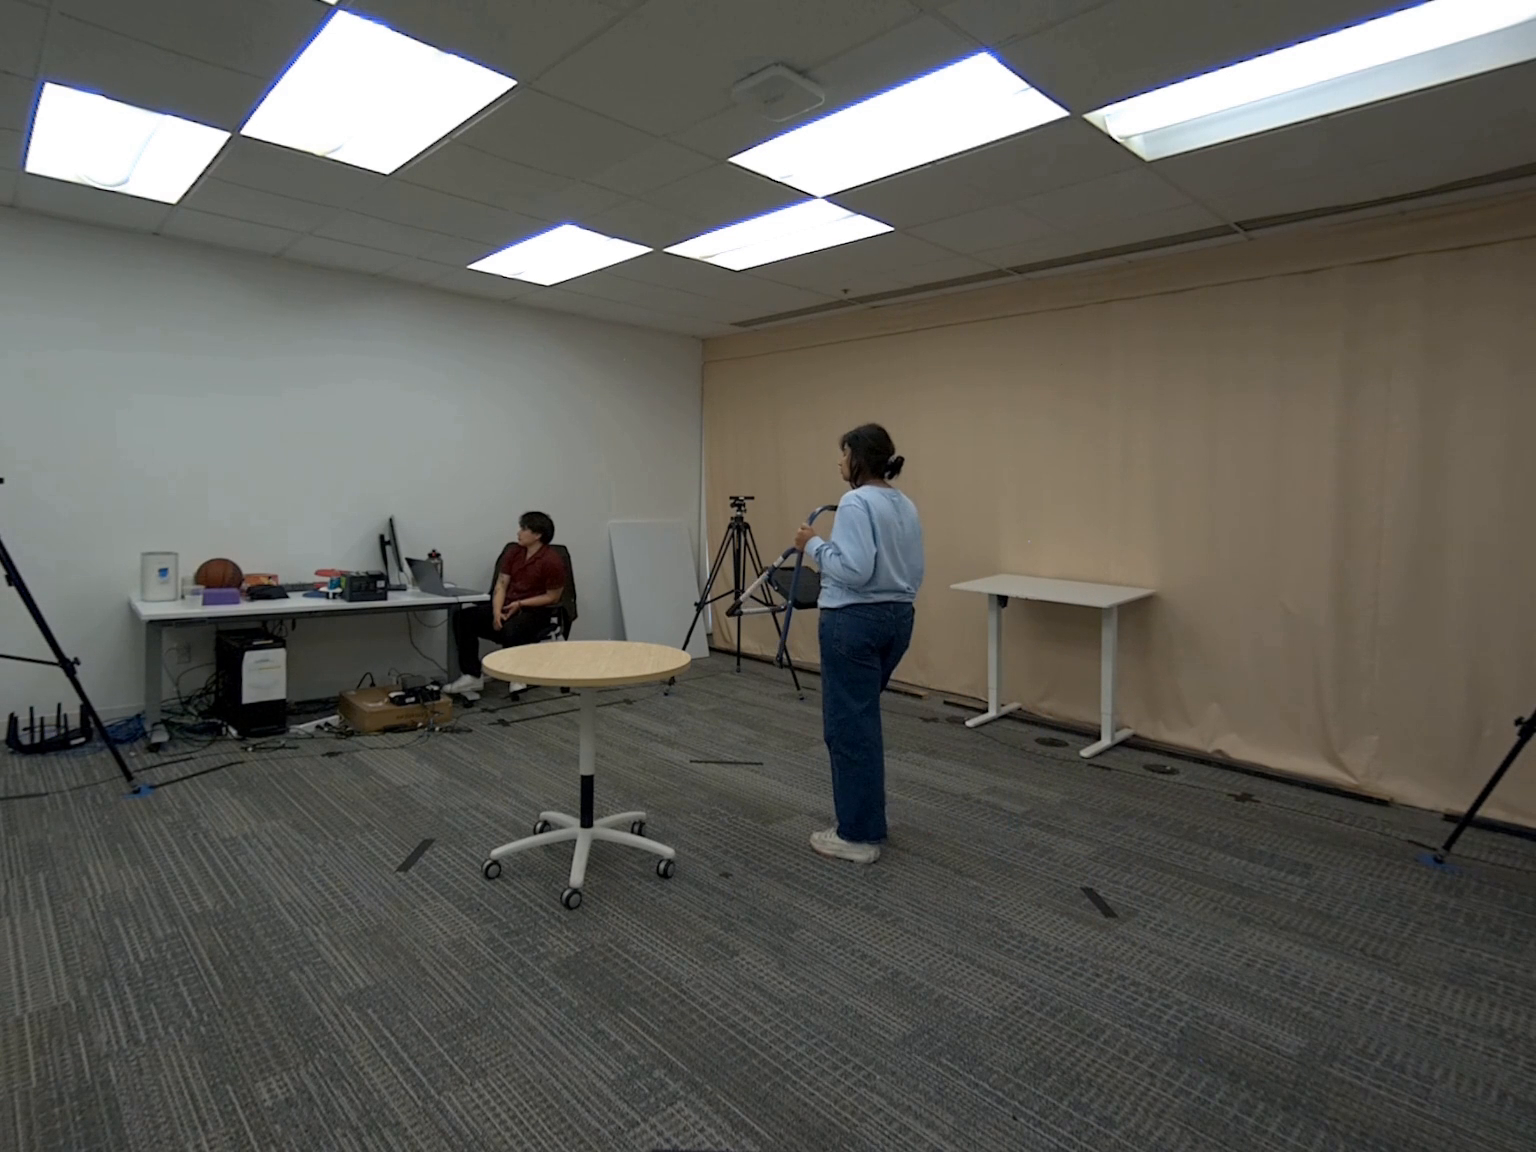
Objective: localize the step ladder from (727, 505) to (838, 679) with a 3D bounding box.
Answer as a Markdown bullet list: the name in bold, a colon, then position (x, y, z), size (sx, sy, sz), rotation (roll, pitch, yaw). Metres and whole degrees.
- **step ladder**: position (0.177, 0.014, 3.453), size (0.359, 0.603, 0.421), rotation (40, 23, 29)
